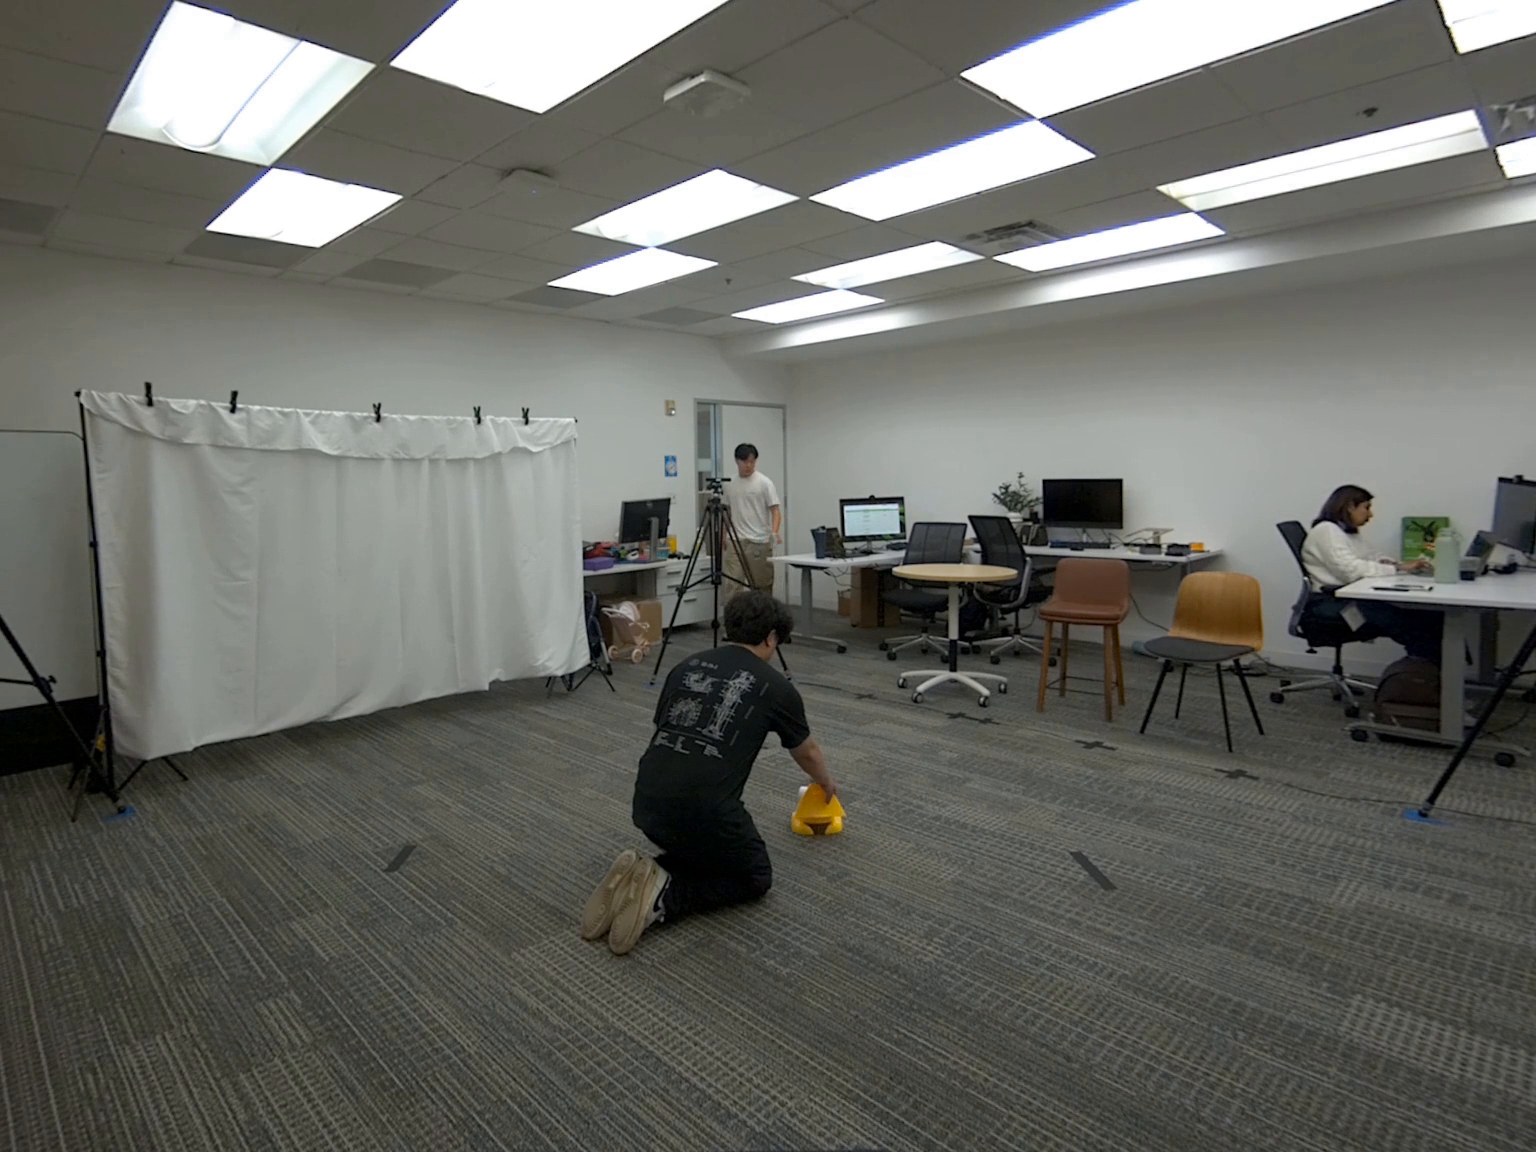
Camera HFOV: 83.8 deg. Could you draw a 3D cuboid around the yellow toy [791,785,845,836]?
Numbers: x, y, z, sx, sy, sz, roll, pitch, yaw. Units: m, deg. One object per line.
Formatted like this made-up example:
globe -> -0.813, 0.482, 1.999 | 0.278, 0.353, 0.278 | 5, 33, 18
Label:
yellow toy -> 0.192, 0.888, 3.406 | 0.204, 0.229, 0.195 | -2, 9, -4
